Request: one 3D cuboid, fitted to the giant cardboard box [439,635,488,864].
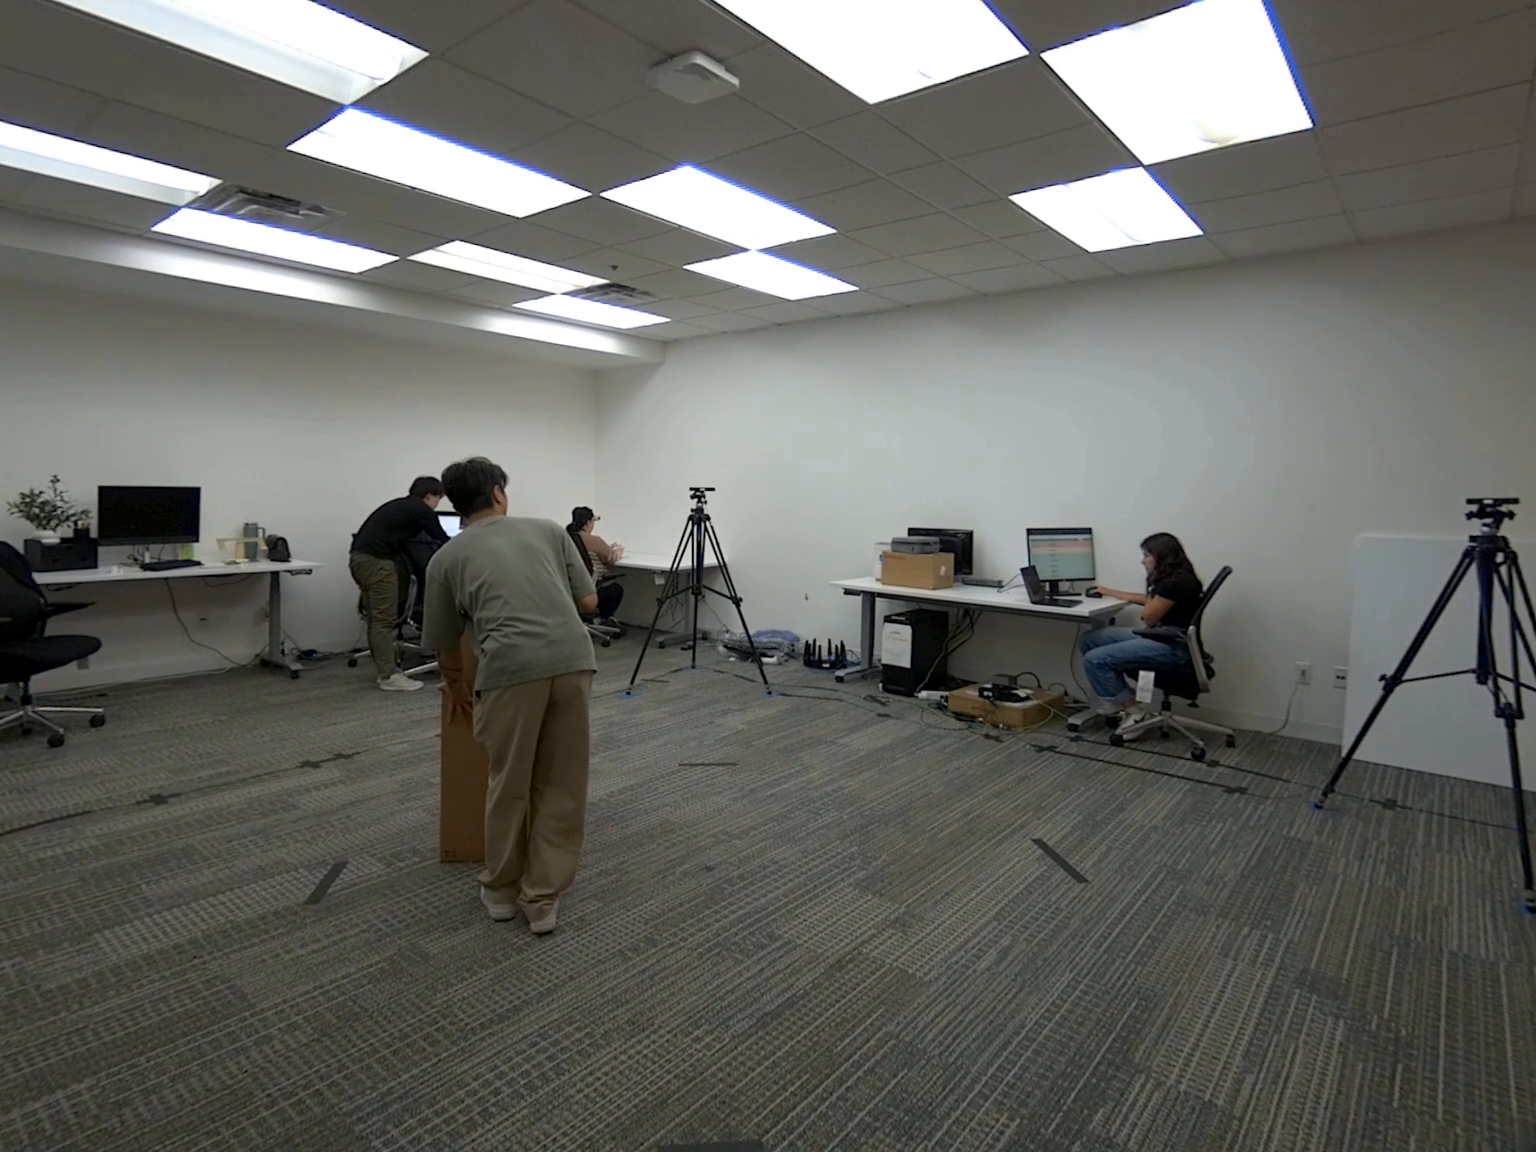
[{"bbox_3d":[-1.028,0.514,3.396,0.424,1.023,0.582,2,3,-5],"label":"giant cardboard box"}]
